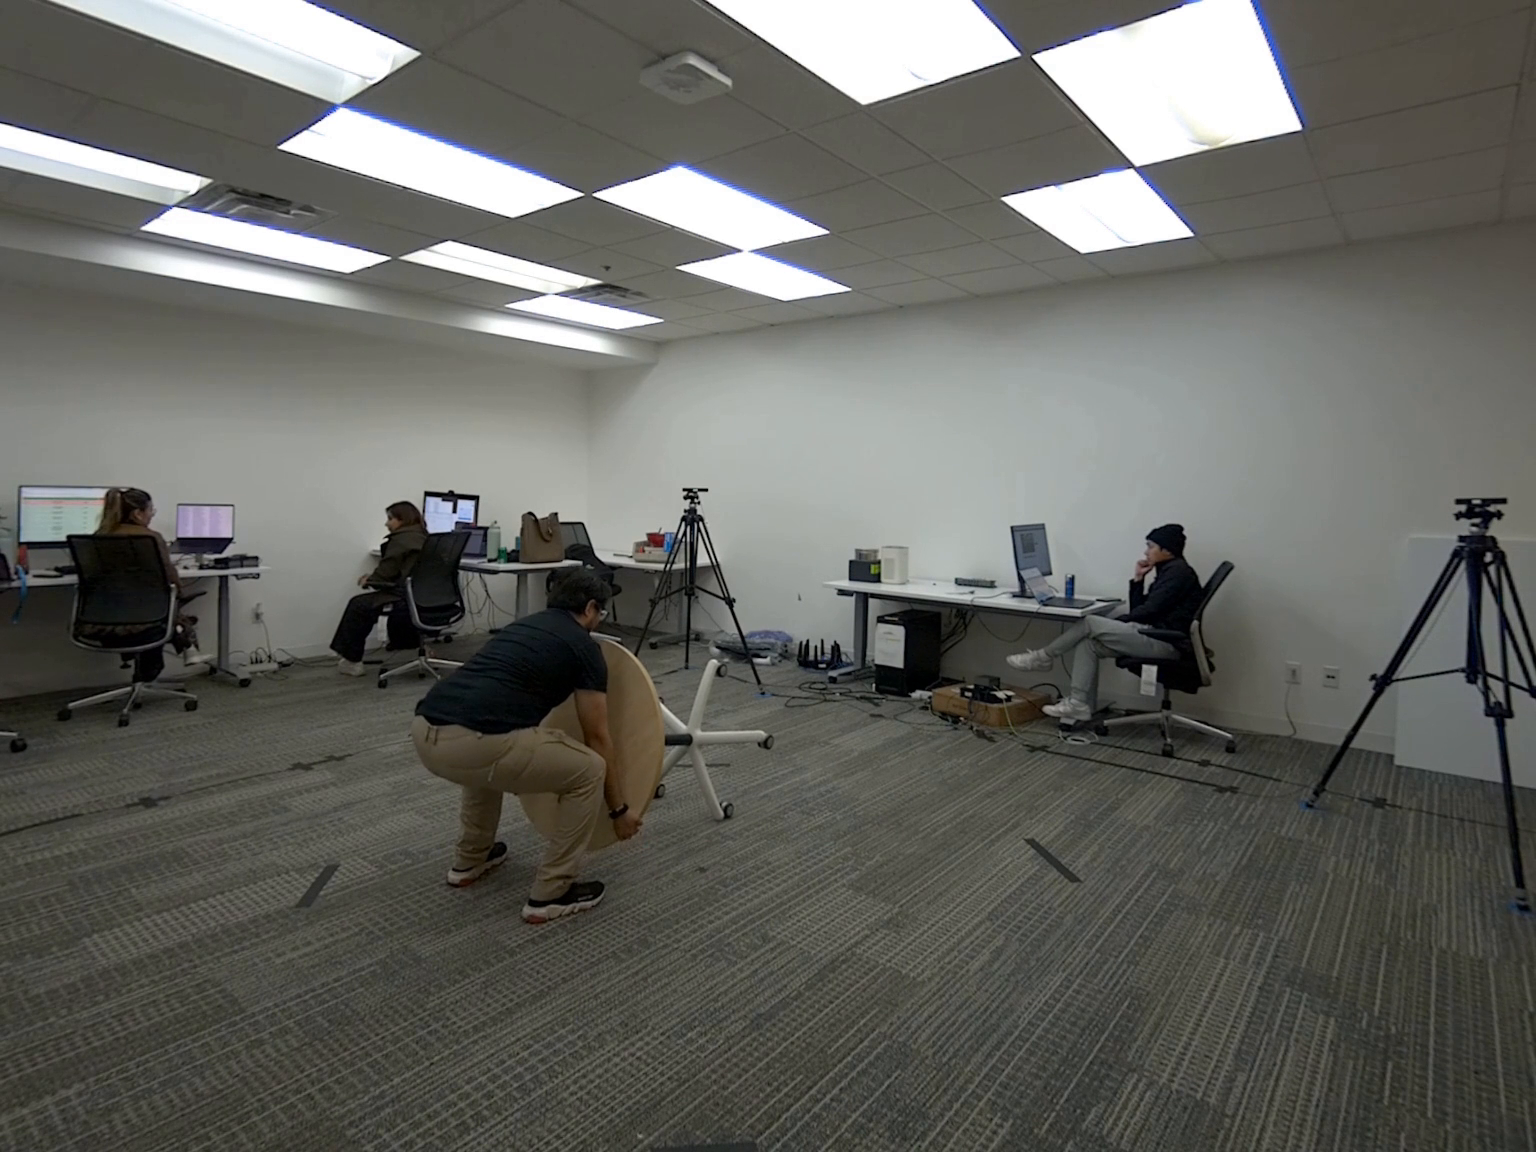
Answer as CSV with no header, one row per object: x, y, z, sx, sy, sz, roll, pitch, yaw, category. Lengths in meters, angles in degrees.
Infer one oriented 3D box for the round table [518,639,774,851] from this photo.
-0.491,0.670,3.450,0.810,0.789,0.757,4,-8,36,round table
